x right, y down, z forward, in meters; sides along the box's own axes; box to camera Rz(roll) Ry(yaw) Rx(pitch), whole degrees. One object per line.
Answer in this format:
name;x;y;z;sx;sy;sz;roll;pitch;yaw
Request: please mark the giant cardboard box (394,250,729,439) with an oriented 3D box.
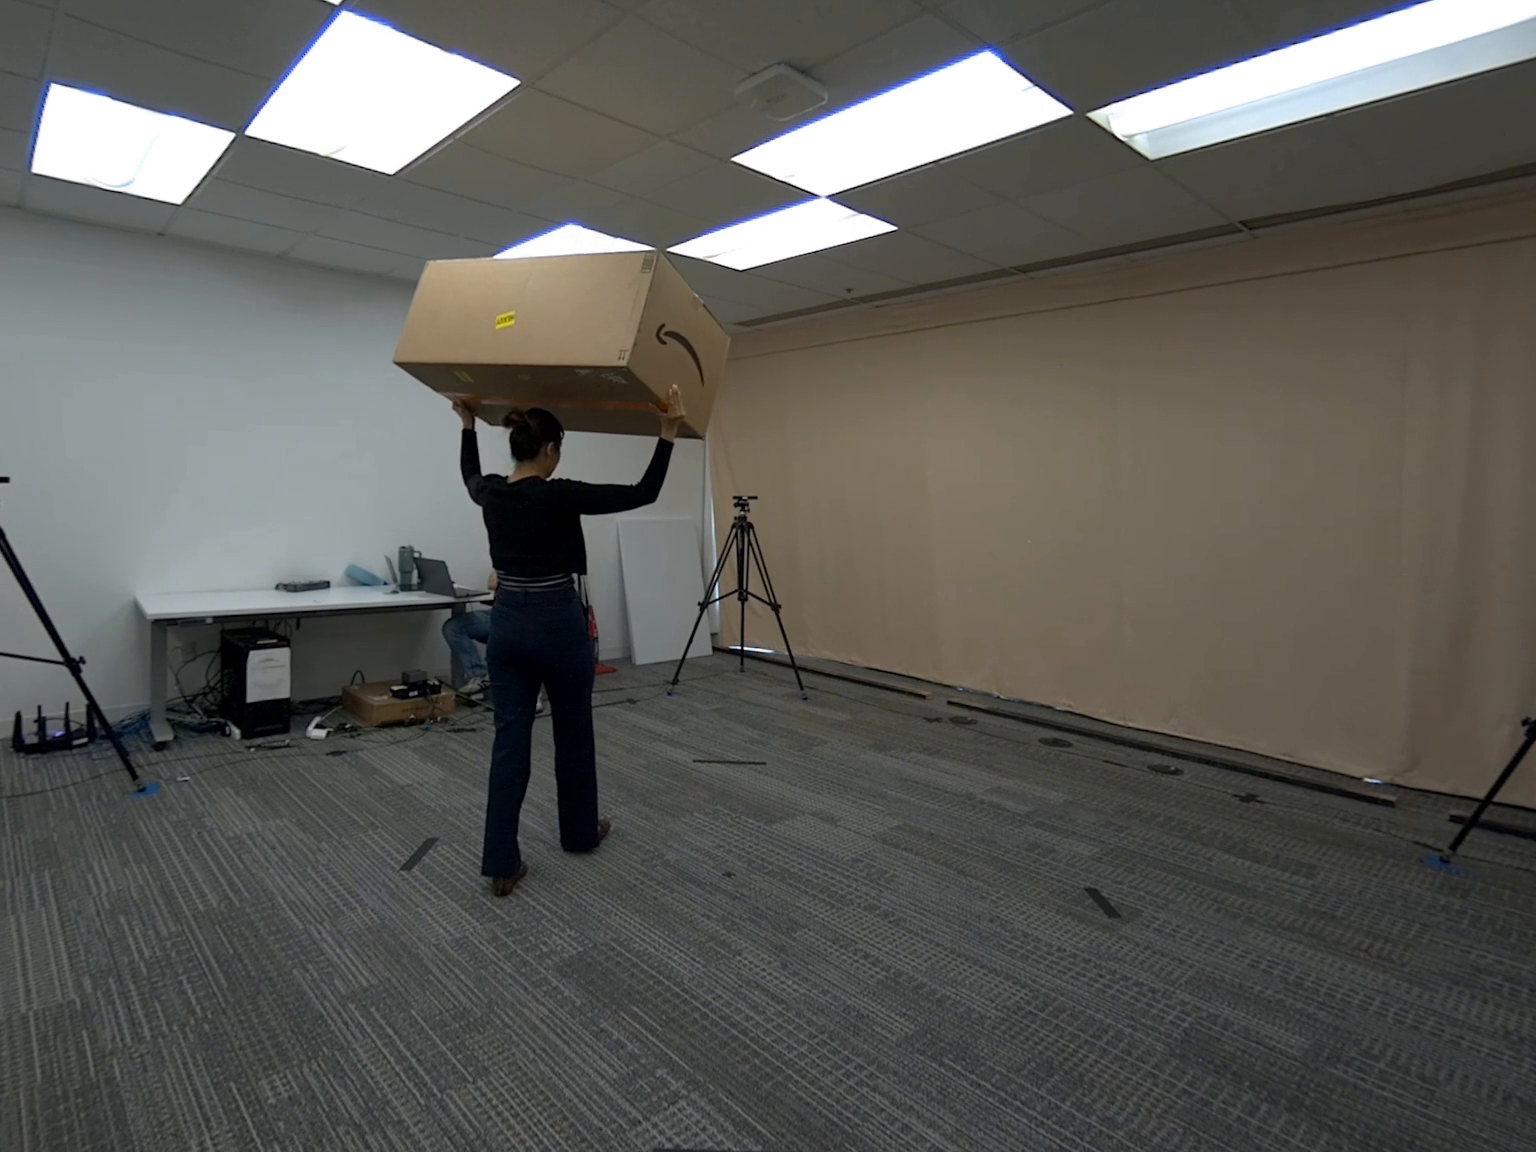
giant cardboard box;-0.753;-0.834;3.112;1.047;0.429;0.562;8;-12;26
